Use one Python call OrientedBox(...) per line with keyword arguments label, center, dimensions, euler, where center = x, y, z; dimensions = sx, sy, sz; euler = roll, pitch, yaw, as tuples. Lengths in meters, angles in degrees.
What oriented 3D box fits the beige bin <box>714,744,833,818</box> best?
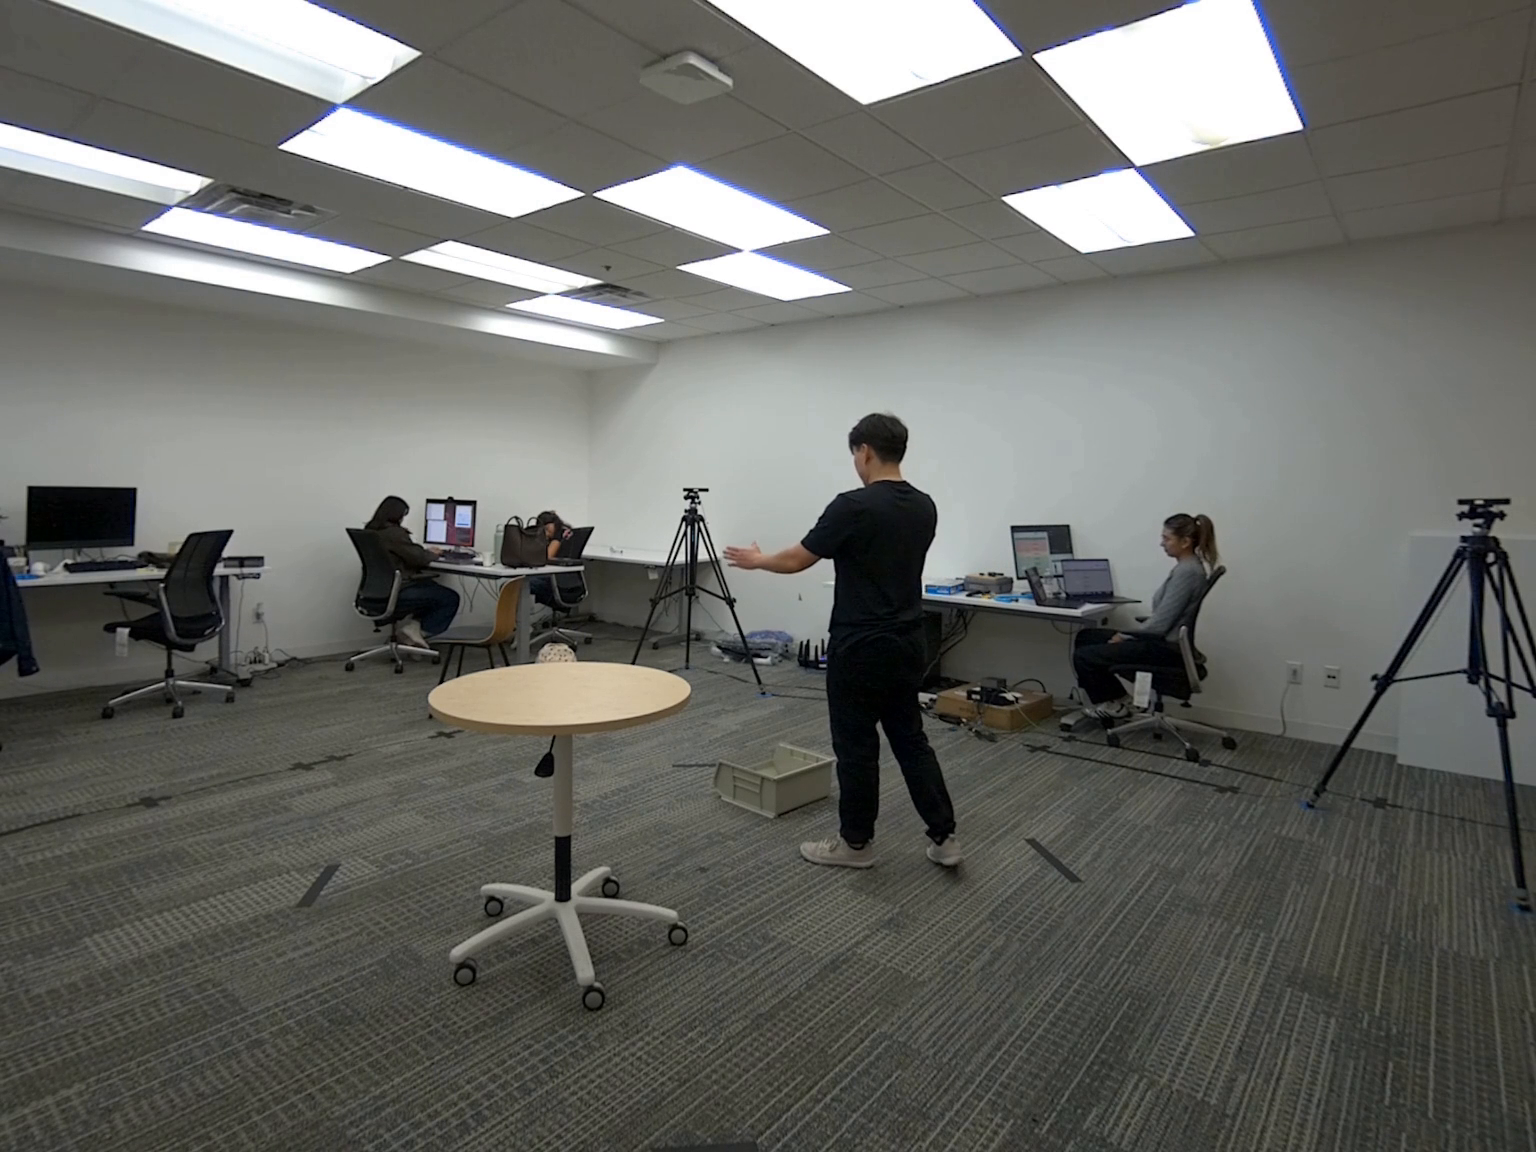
OrientedBox(label="beige bin", center=(0.021, 0.912, 3.865), dimensions=(0.390, 0.188, 0.409), euler=(7, 7, 43))
